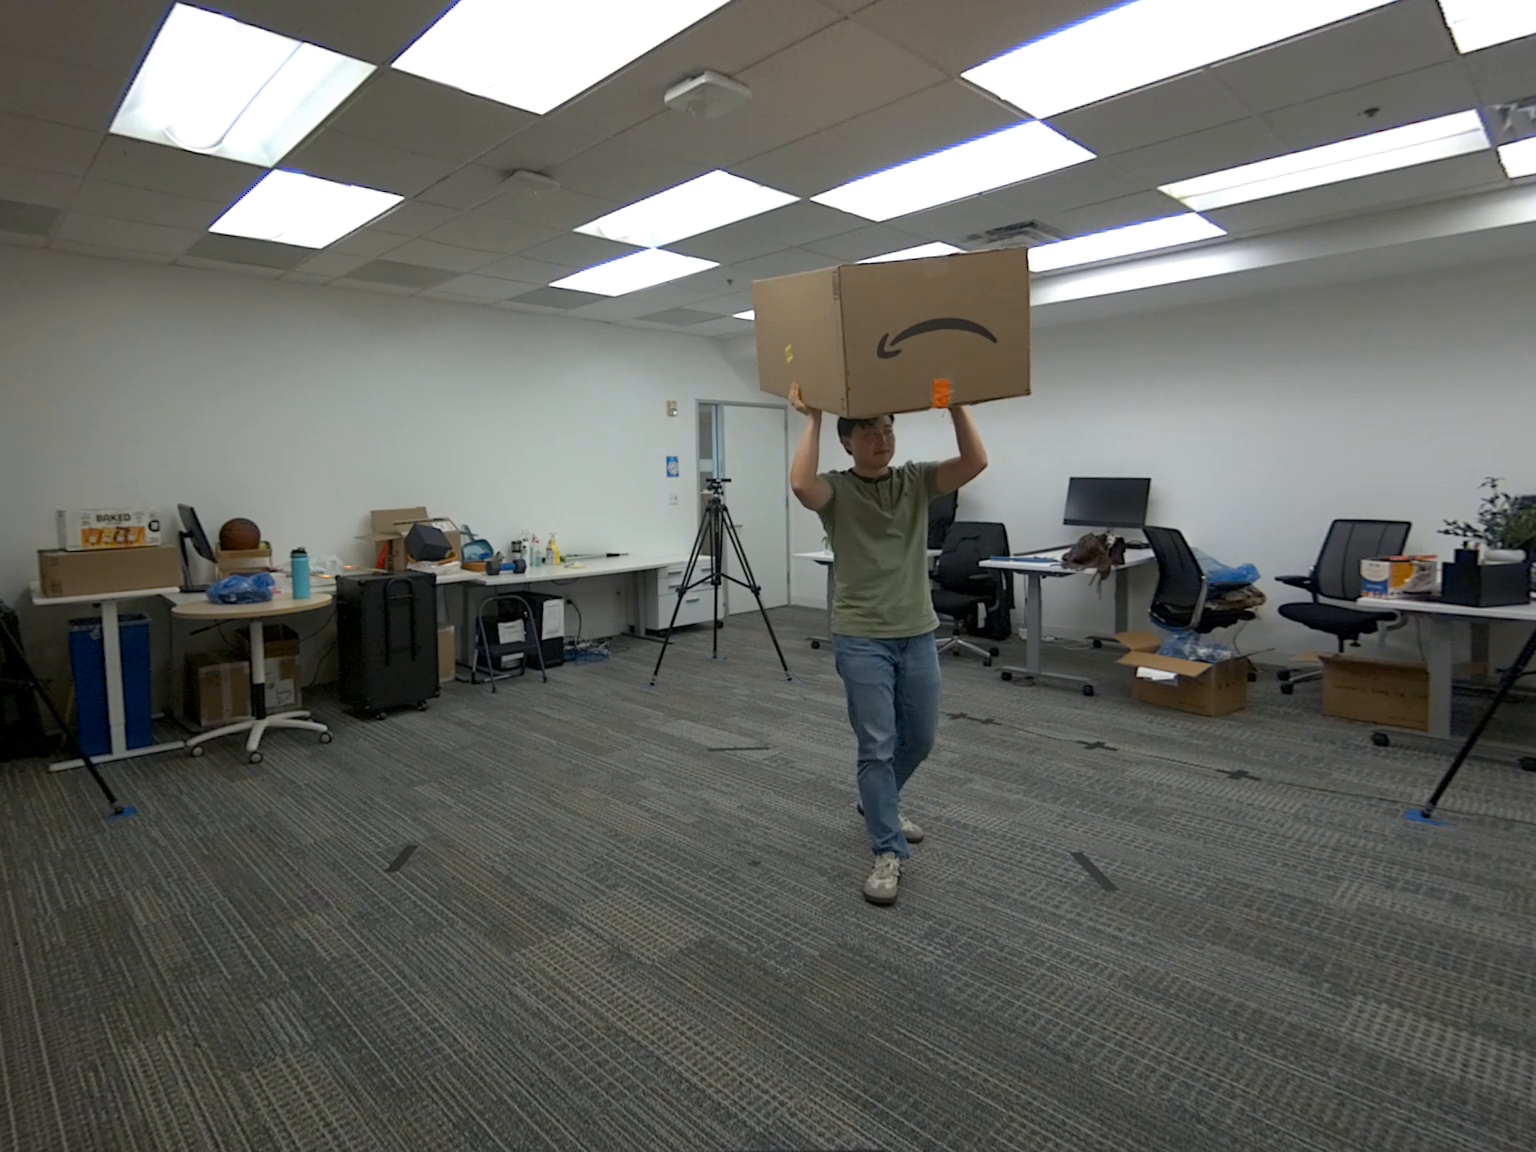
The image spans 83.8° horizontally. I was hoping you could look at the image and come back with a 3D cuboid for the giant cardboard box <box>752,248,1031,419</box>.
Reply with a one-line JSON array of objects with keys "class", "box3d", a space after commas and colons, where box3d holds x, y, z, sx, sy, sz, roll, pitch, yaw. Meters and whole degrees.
[{"class": "giant cardboard box", "box3d": [0.358, -0.832, 2.911, 0.572, 0.419, 1.052, -10, 18, -11]}]
